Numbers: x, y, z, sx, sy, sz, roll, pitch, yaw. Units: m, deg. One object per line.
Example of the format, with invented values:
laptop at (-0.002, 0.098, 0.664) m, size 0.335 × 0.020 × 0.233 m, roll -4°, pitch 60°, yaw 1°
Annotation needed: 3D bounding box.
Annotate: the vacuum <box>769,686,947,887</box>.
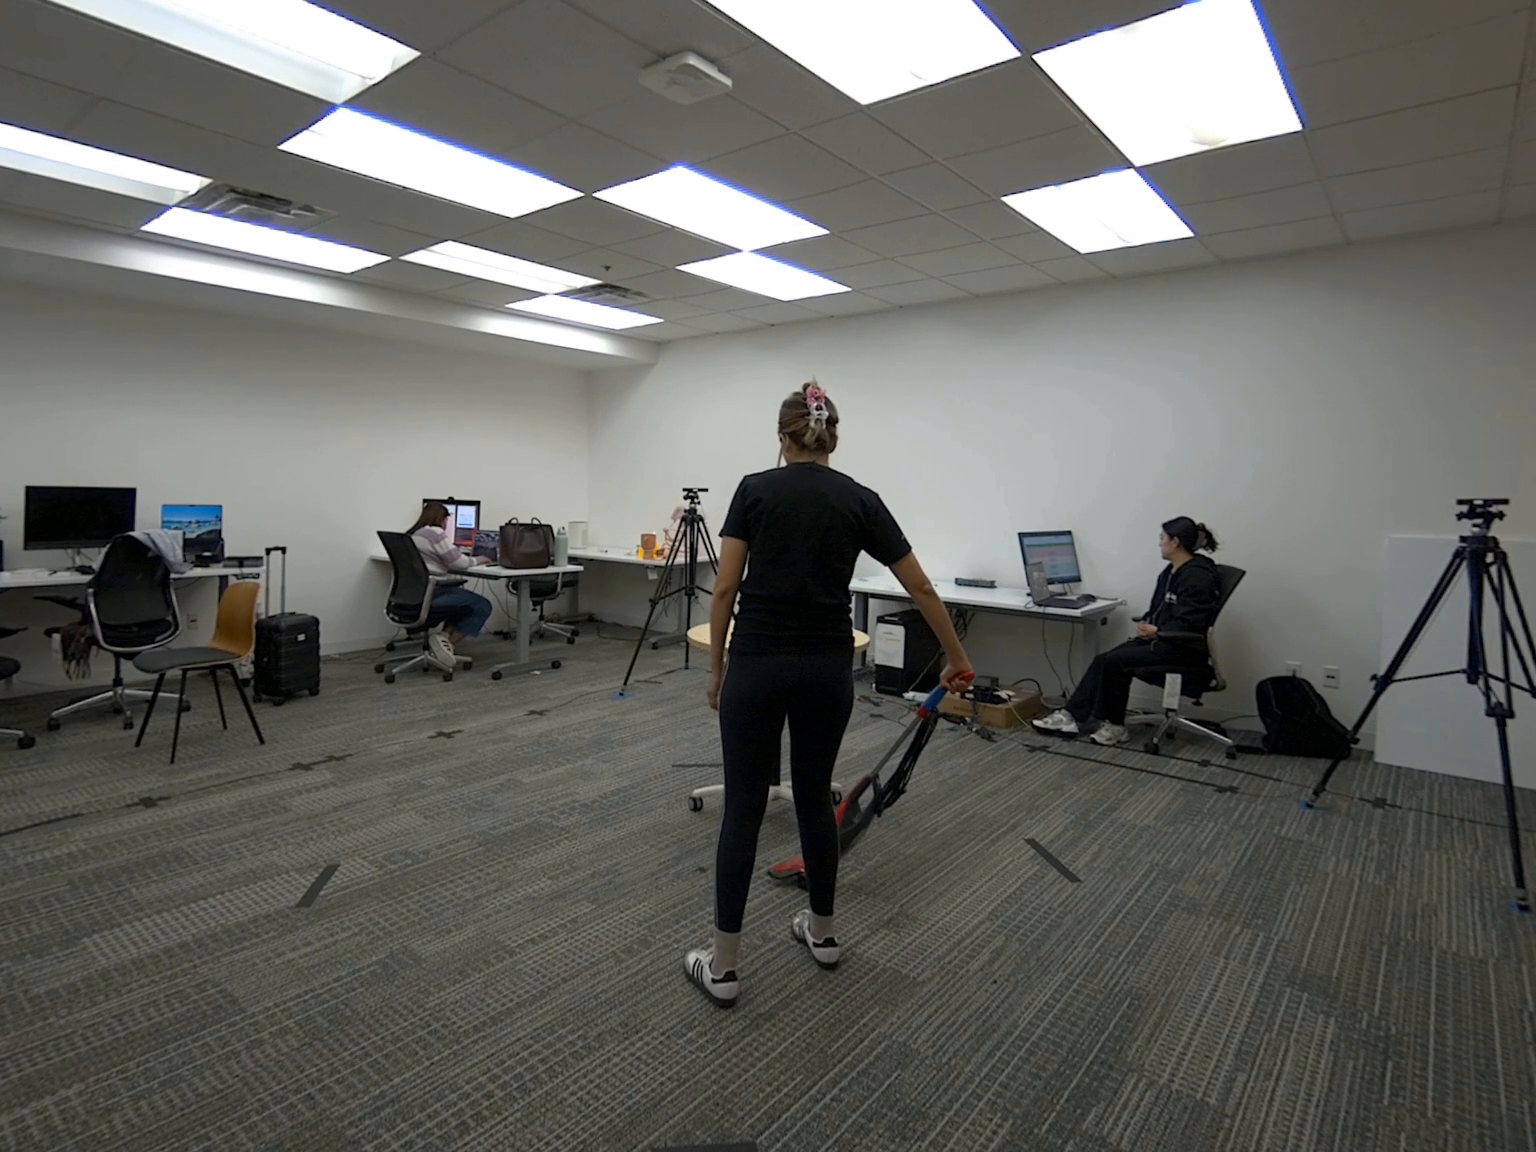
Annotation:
vacuum at (0.350, 0.690, 2.786) m, size 0.245 × 1.041 × 0.149 m, roll -5°, pitch 47°, yaw -45°
